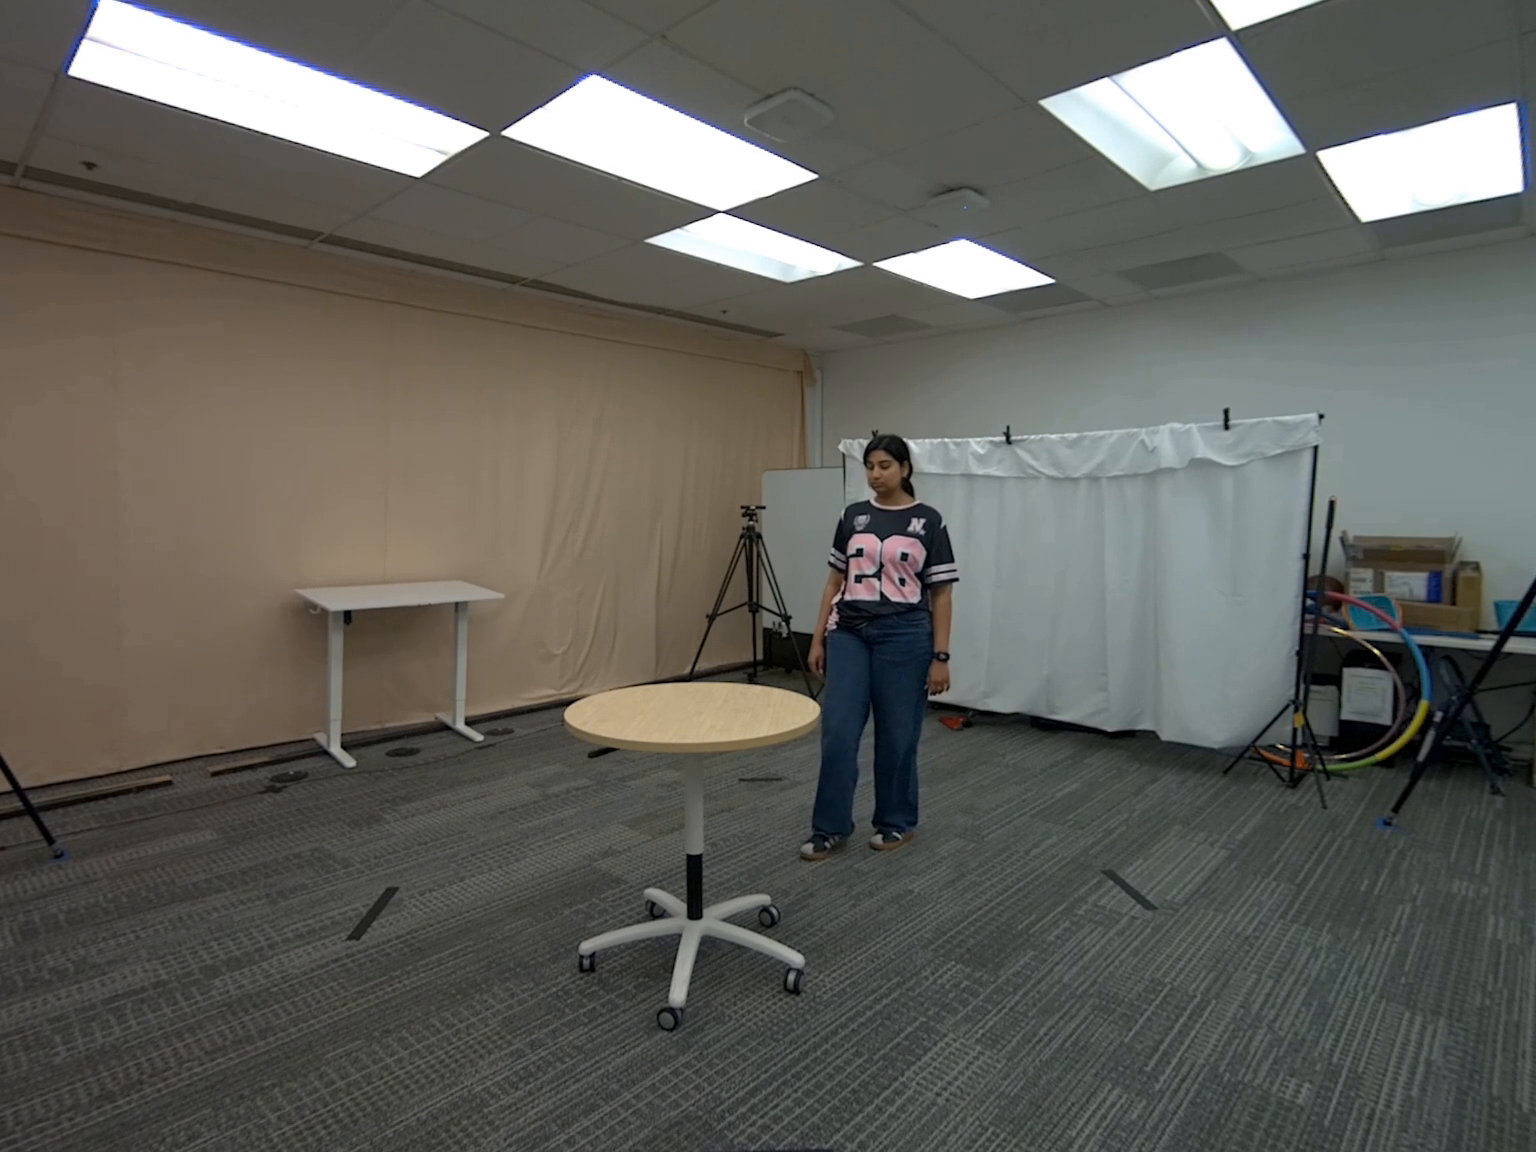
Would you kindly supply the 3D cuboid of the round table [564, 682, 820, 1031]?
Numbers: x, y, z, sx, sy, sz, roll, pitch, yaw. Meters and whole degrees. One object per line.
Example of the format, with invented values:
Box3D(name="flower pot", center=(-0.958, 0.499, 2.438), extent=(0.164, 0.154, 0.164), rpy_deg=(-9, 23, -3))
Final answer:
Box3D(name="round table", center=(-0.207, 0.787, 2.561), extent=(0.784, 0.784, 0.788), rpy_deg=(-1, 4, -2))
